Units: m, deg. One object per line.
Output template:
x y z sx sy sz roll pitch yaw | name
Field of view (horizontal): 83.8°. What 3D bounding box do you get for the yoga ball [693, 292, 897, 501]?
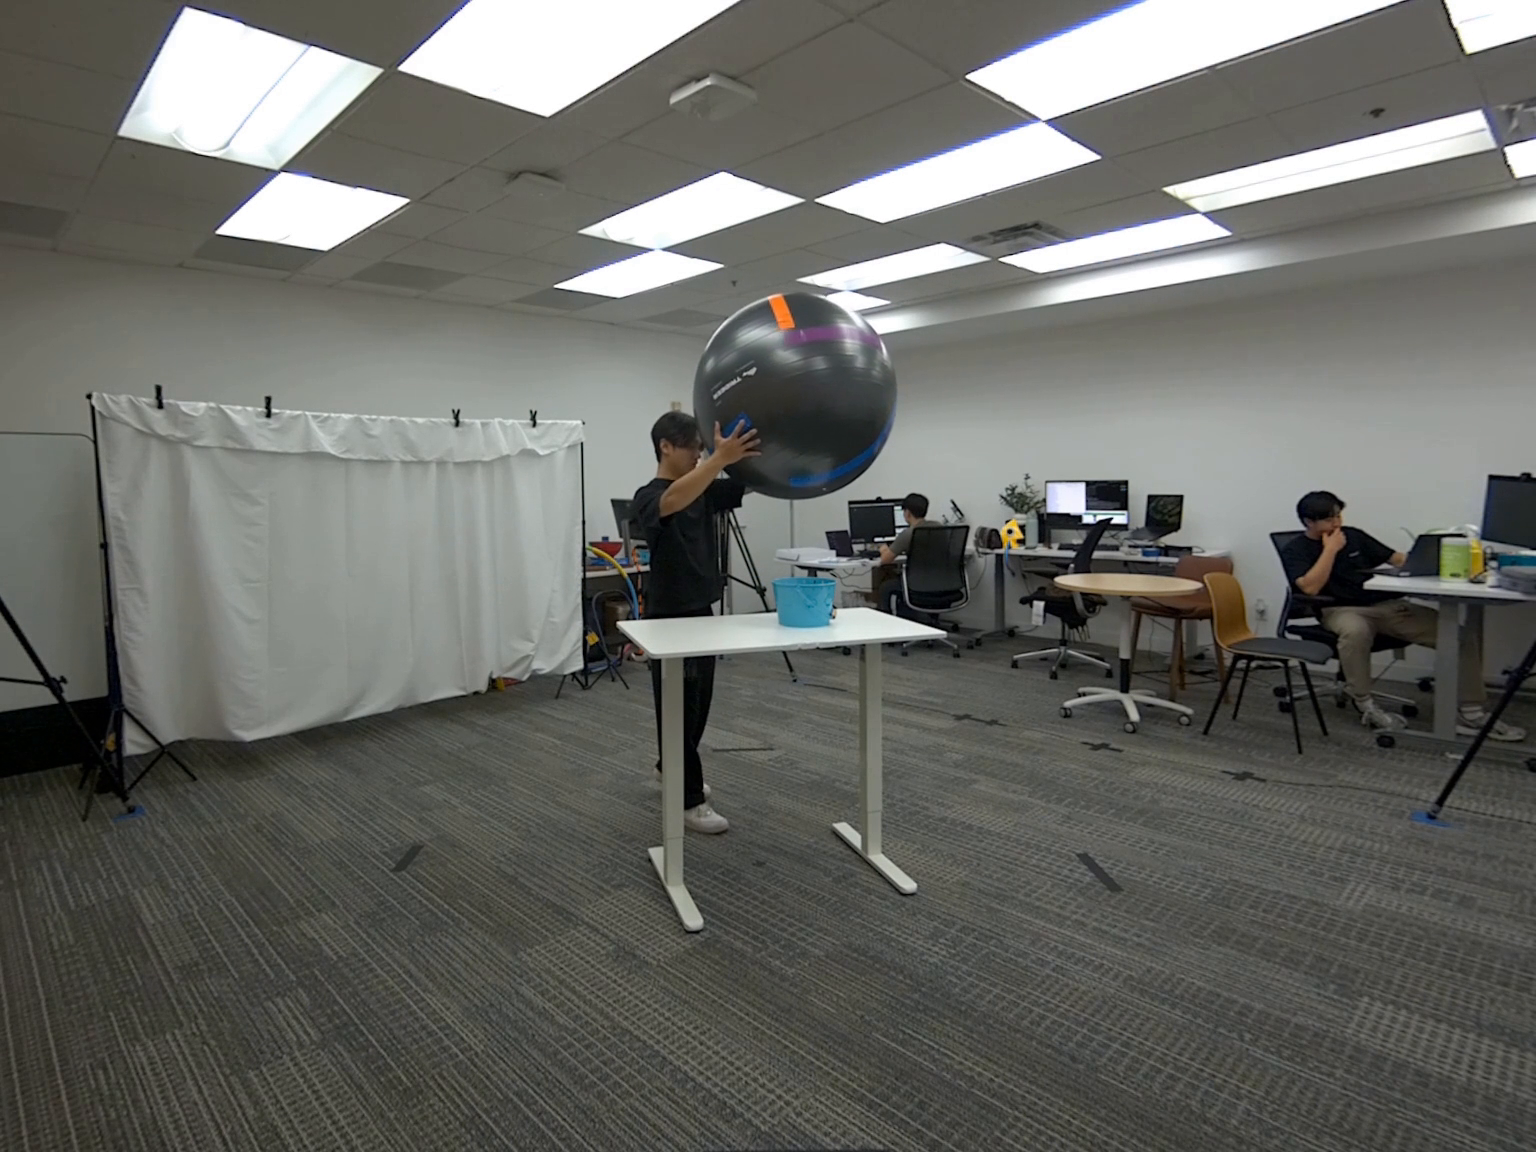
0.103 -0.661 3.182 0.757 0.755 0.762 -1 5 -2 | yoga ball
